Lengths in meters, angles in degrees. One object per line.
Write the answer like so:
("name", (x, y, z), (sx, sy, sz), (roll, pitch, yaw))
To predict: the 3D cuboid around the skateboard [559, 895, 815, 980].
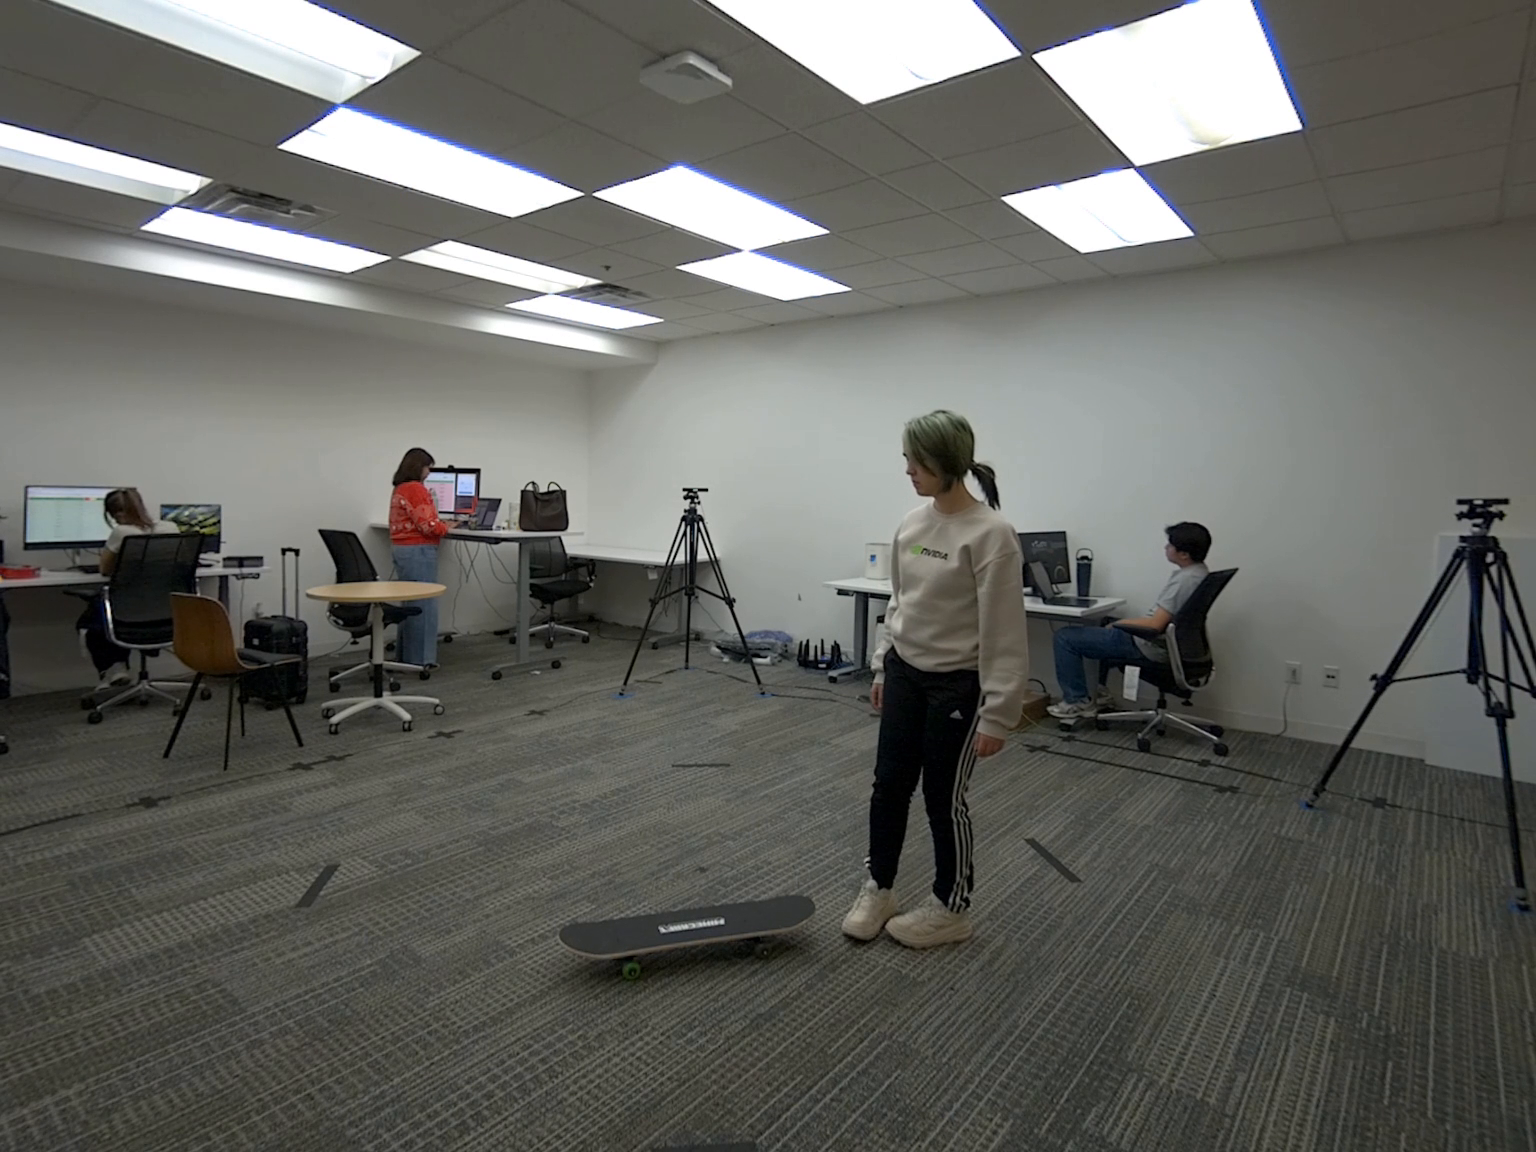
("skateboard", (-0.234, 1.072, 2.532), (0.771, 0.110, 0.197), (-1, 4, -18))
